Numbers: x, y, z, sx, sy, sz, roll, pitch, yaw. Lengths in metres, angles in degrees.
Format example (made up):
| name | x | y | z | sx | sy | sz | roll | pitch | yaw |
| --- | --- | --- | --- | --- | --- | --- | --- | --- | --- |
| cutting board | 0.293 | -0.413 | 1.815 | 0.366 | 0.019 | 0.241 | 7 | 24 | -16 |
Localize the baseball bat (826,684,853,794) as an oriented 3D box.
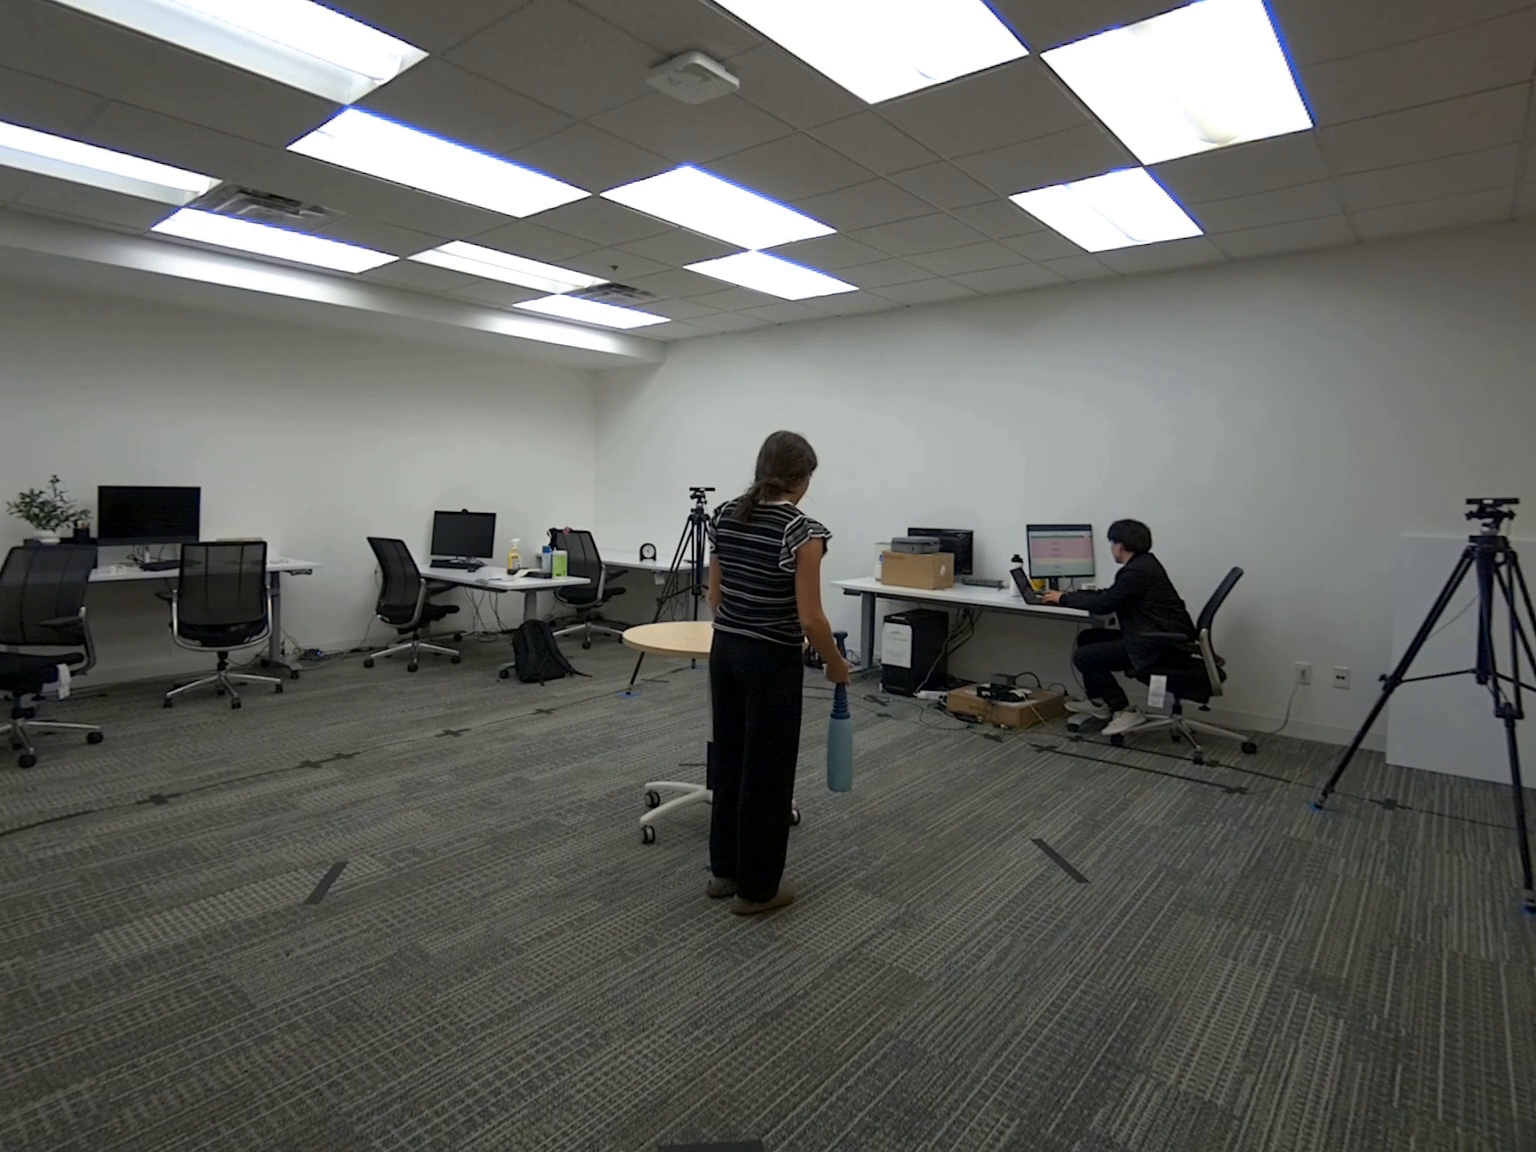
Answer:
| name | x | y | z | sx | sy | sz | roll | pitch | yaw |
| --- | --- | --- | --- | --- | --- | --- | --- | --- | --- |
| baseball bat | 0.241 | 0.456 | 2.867 | 0.089 | 0.541 | 0.089 | 1 | 3 | -2 |
